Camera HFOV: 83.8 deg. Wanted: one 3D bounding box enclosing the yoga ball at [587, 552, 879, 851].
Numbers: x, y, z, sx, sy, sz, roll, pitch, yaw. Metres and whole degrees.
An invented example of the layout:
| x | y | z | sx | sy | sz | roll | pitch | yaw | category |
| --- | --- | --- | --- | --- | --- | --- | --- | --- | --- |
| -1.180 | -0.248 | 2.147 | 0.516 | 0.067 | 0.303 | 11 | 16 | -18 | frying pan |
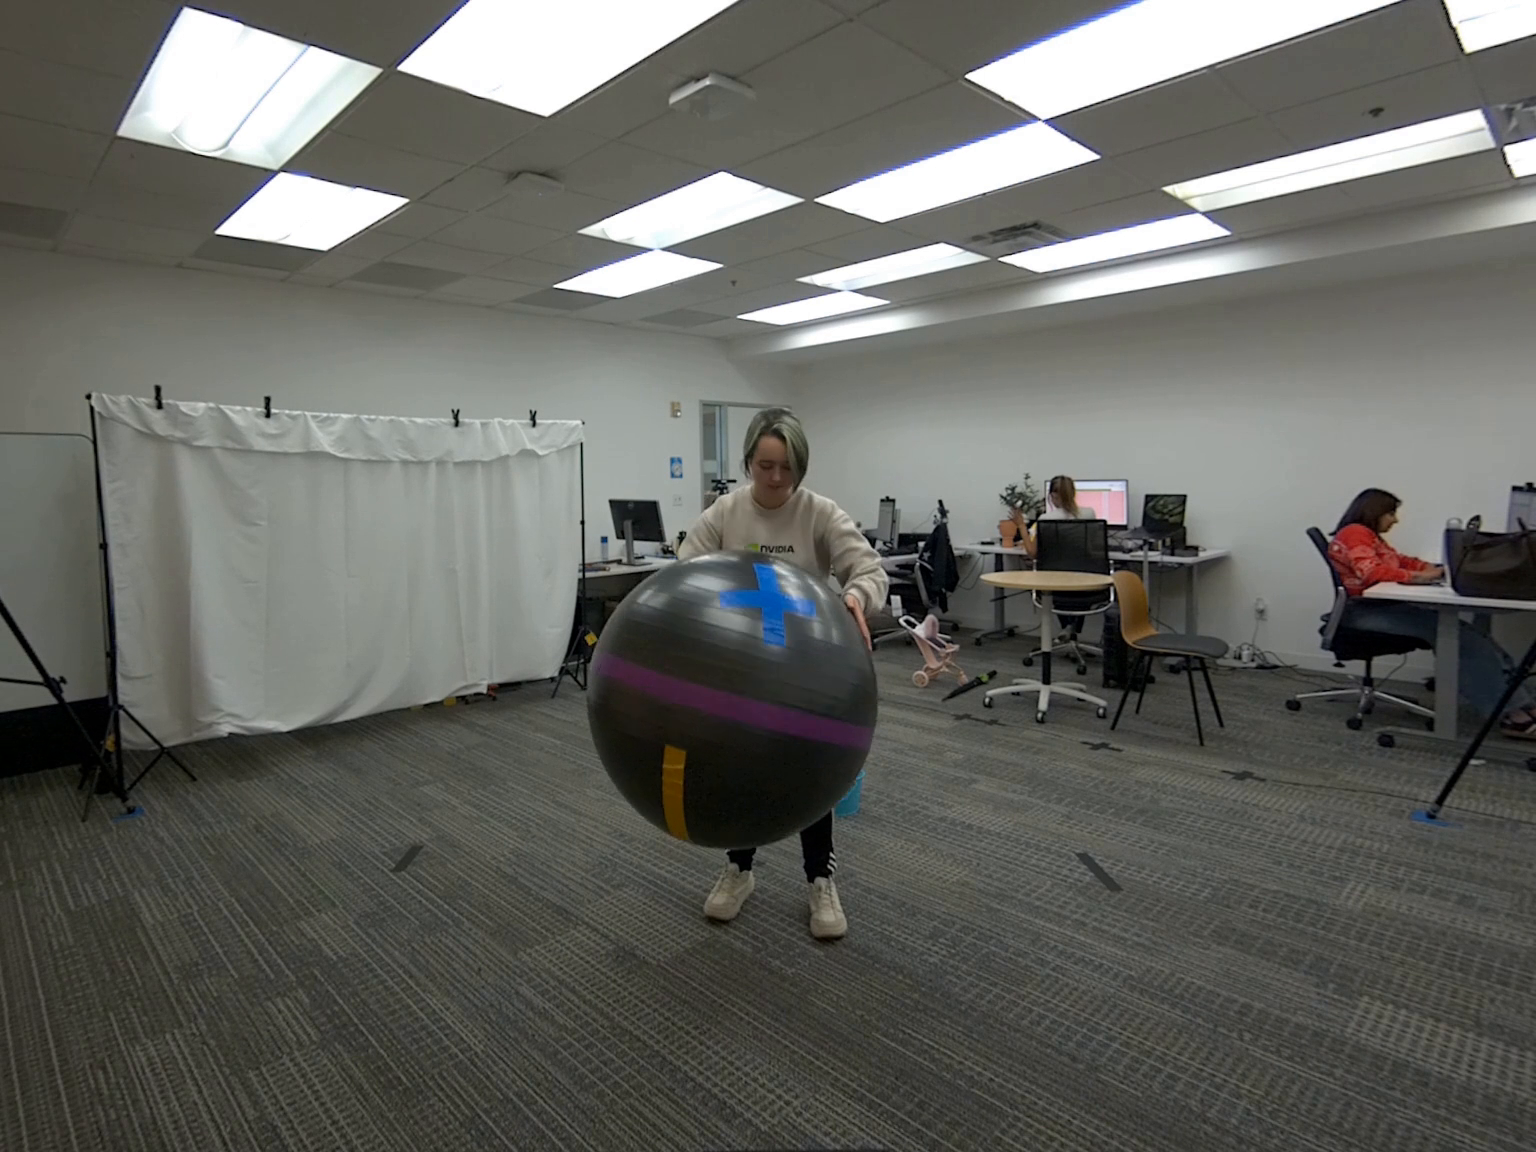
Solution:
| x | y | z | sx | sy | sz | roll | pitch | yaw | category |
| --- | --- | --- | --- | --- | --- | --- | --- | --- | --- |
| -0.097 | 0.326 | 2.238 | 0.757 | 0.755 | 0.762 | -1 | 5 | -2 | yoga ball |
